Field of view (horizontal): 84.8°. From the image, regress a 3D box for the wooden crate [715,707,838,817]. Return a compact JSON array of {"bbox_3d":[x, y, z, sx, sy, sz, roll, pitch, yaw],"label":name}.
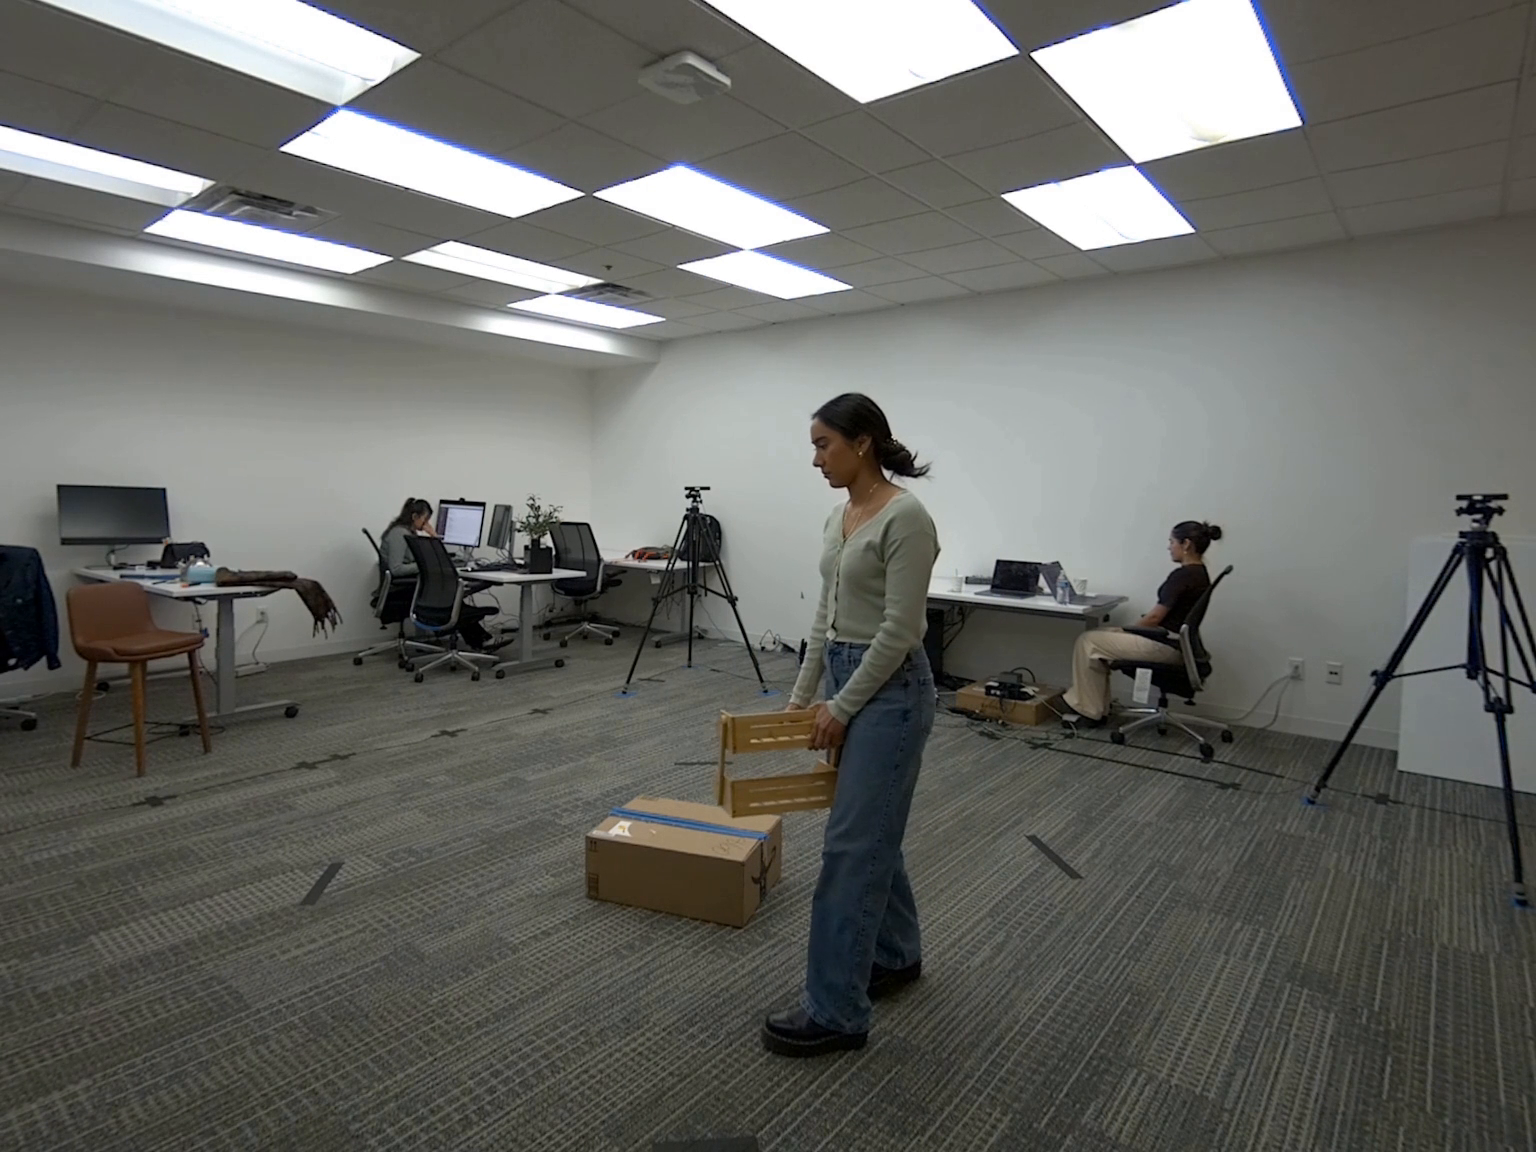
[{"bbox_3d":[0.006,0.471,2.294,0.320,0.274,0.305,-3,-3,-15],"label":"wooden crate"}]
